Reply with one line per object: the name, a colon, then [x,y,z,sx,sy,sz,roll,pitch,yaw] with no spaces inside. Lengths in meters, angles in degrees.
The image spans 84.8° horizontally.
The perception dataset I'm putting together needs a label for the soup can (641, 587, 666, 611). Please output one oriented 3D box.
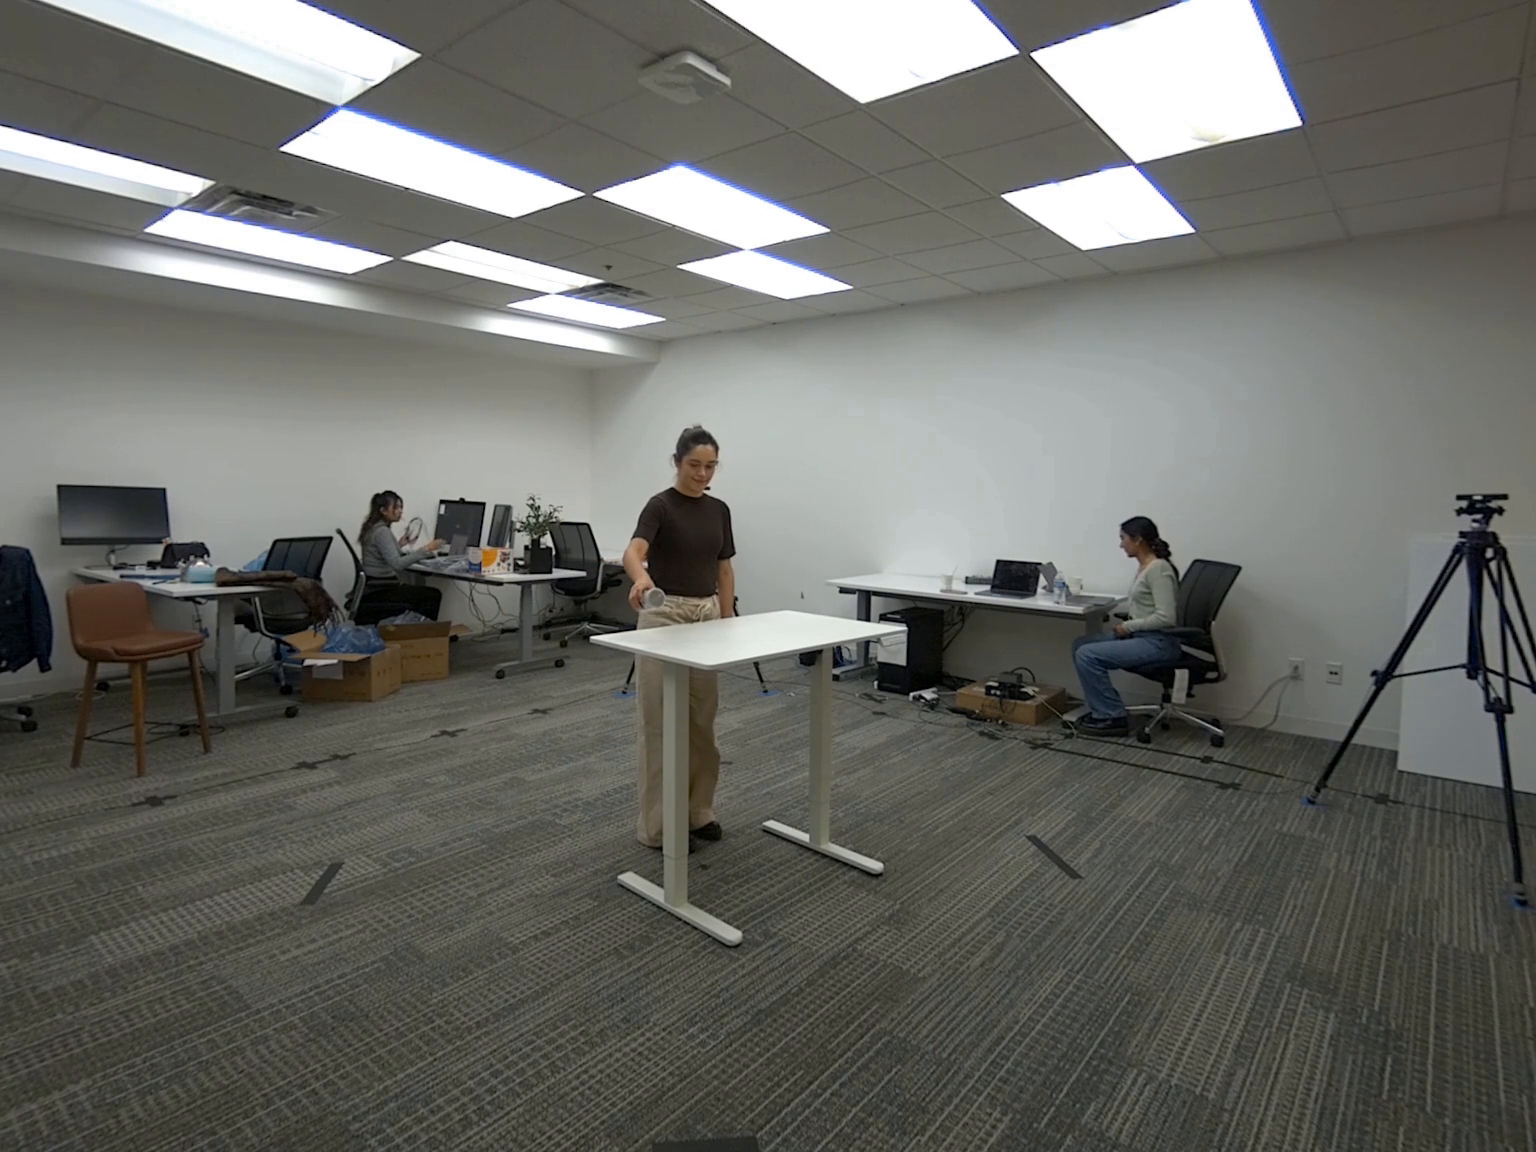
soup can: [-0.394,0.064,2.812,0.066,0.067,0.123,0,3,-9]
